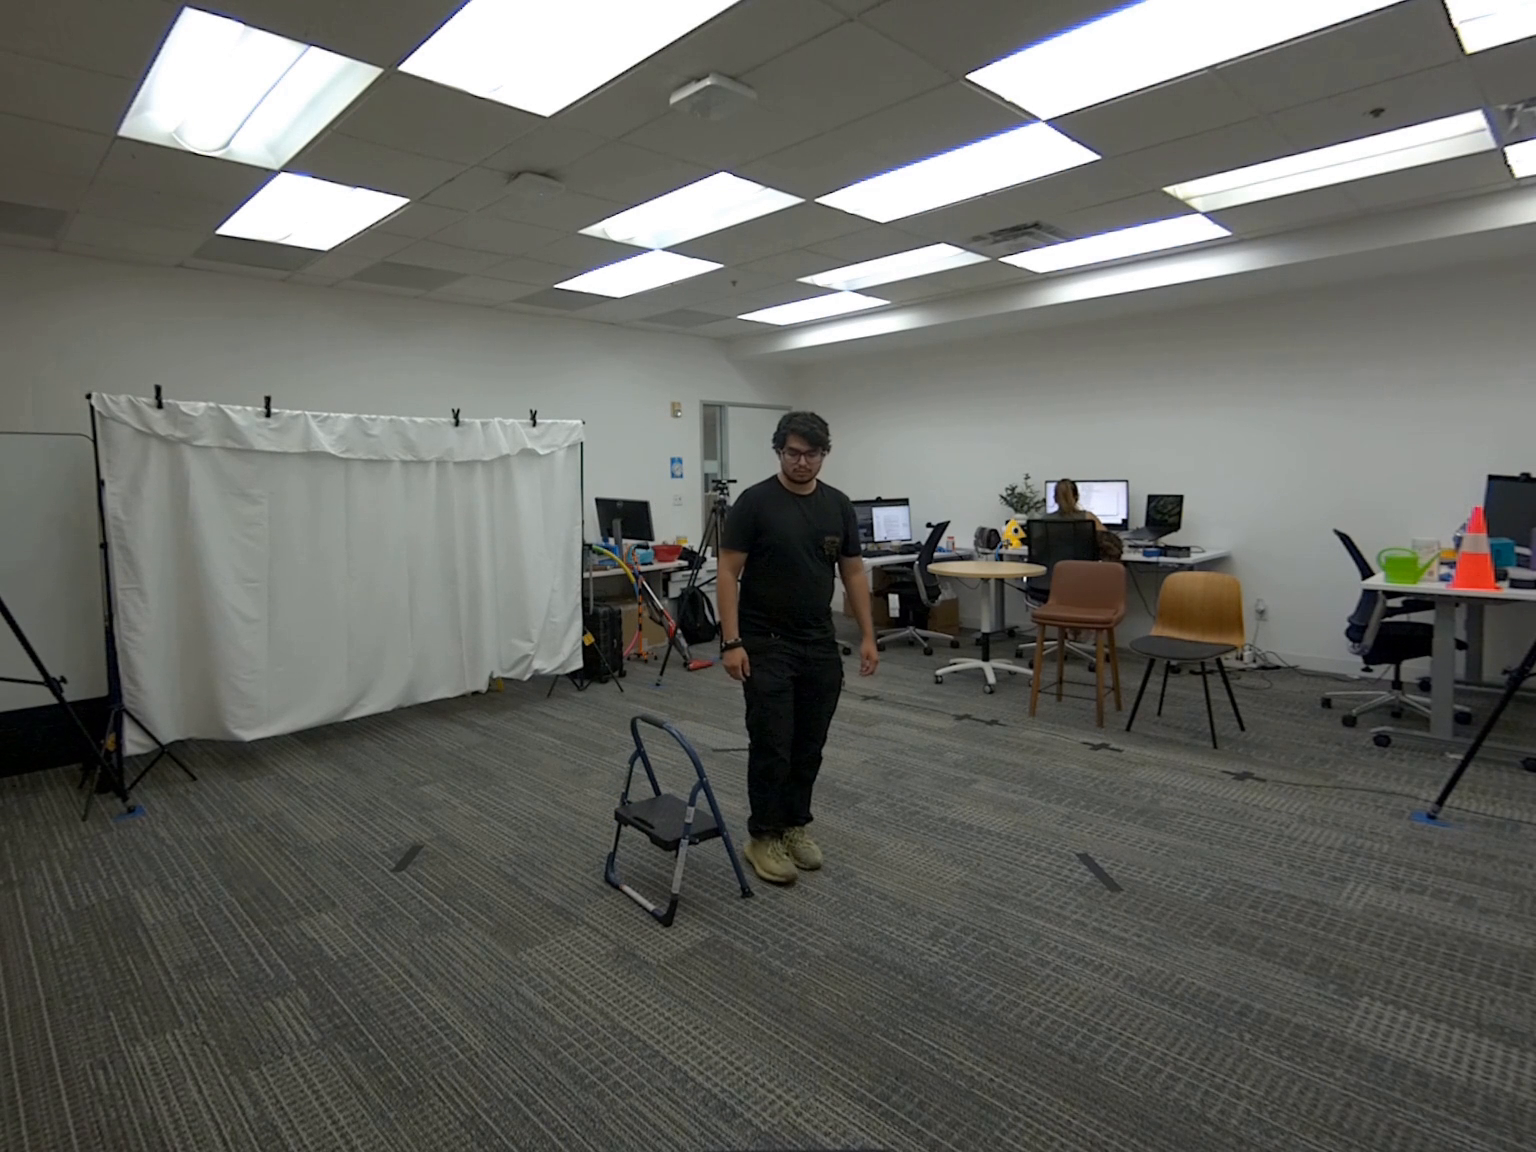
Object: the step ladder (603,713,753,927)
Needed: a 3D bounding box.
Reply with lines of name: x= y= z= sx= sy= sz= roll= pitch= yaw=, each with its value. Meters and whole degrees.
step ladder: x=-0.316 y=0.770 z=2.920 sx=0.340 sy=0.604 sz=0.444 roll=-4 pitch=5 yaw=-39
